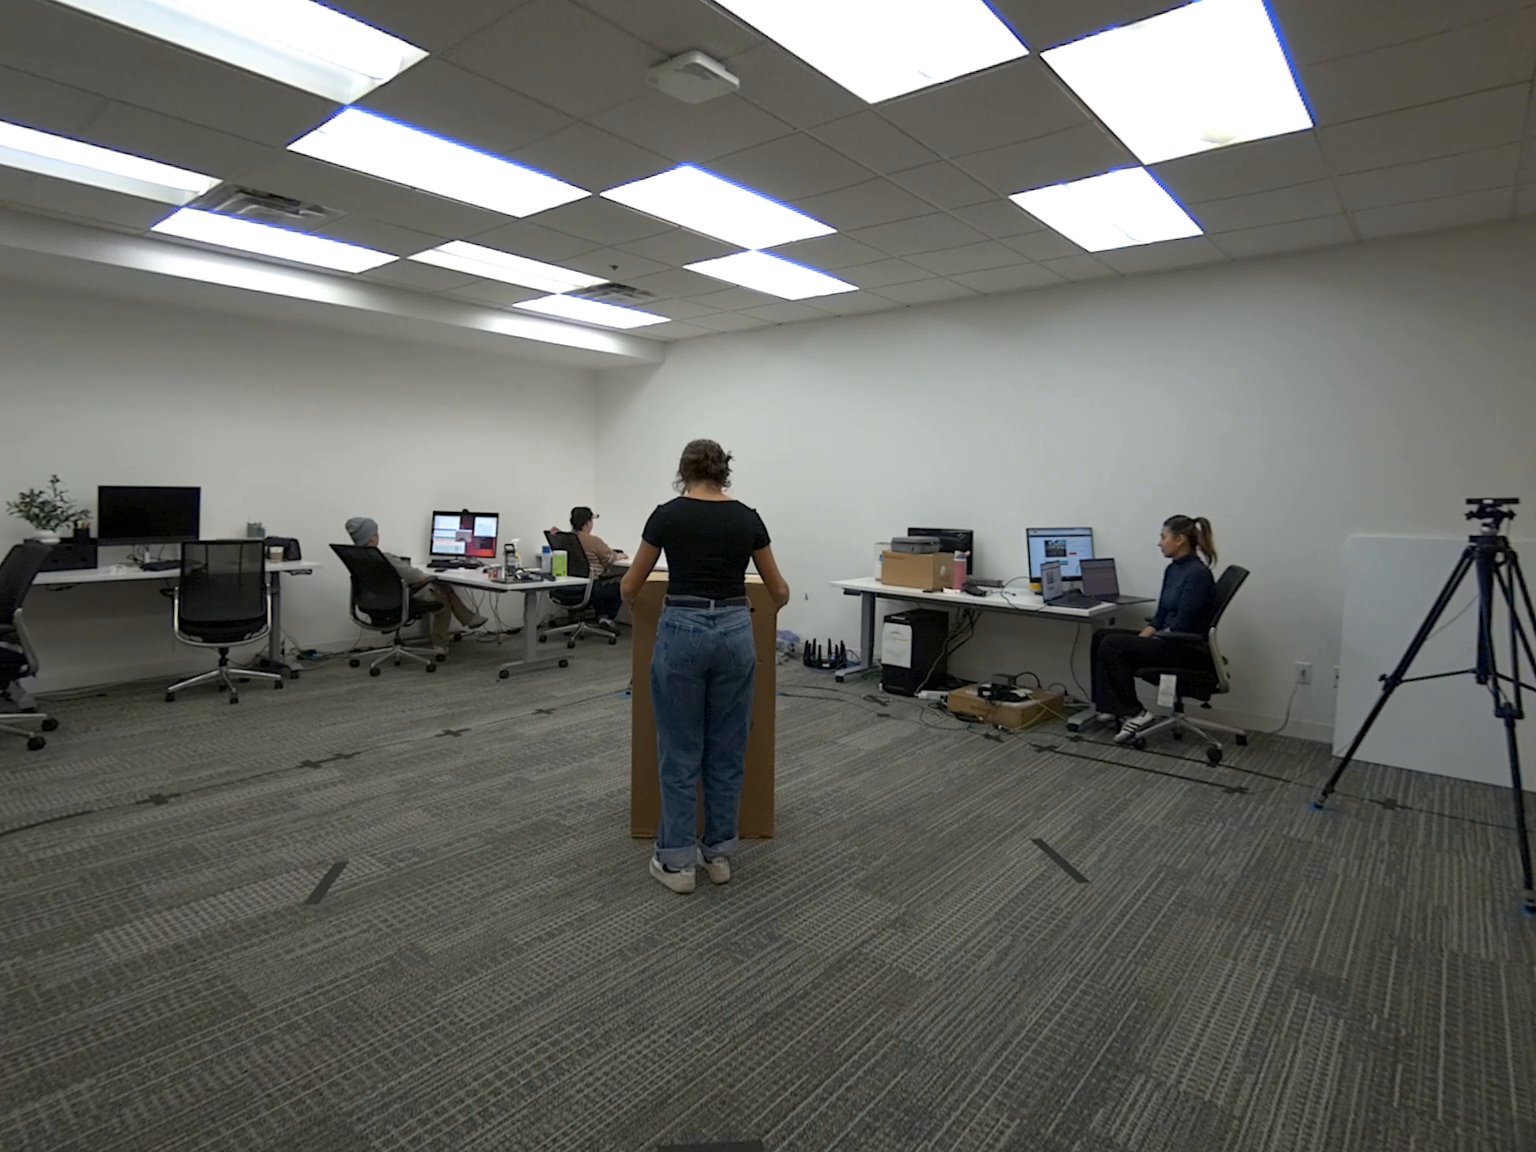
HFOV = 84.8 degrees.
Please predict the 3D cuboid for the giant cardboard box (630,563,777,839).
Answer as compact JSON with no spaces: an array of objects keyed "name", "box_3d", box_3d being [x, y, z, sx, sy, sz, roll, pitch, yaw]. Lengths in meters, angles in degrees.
[{"name":"giant cardboard box","box_3d":[-0.283,0.513,3.573,0.575,1.023,0.429,1,3,-4]}]
